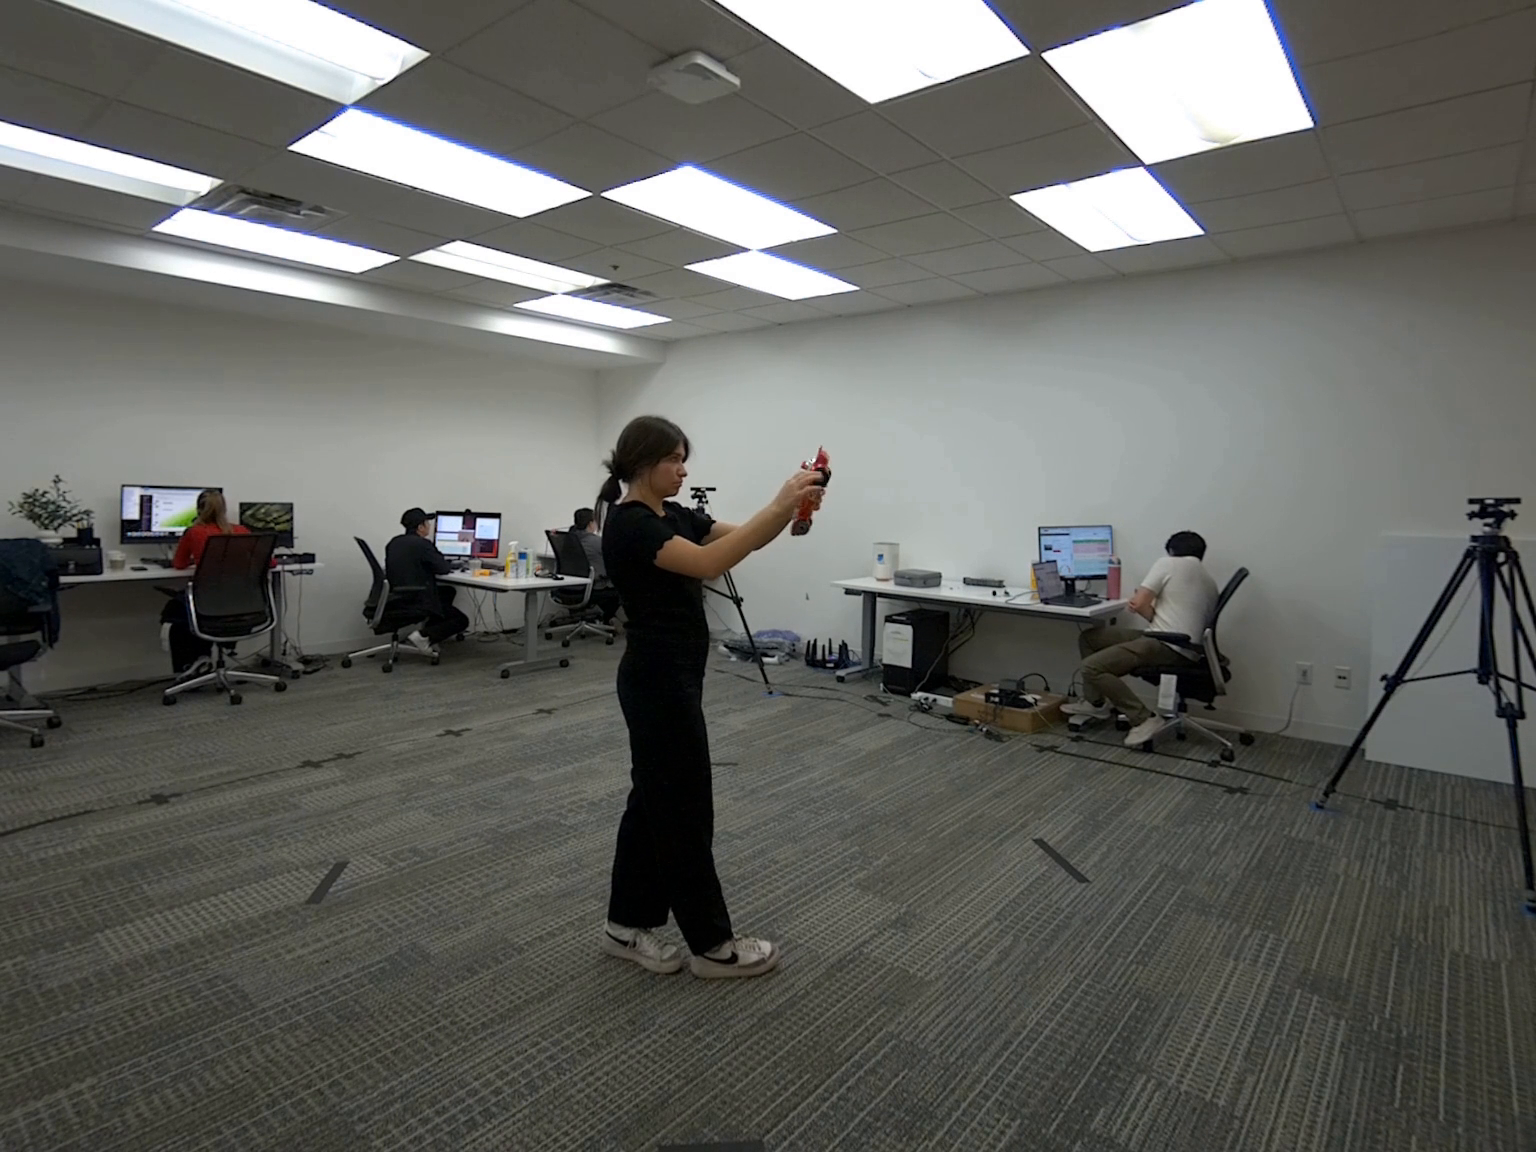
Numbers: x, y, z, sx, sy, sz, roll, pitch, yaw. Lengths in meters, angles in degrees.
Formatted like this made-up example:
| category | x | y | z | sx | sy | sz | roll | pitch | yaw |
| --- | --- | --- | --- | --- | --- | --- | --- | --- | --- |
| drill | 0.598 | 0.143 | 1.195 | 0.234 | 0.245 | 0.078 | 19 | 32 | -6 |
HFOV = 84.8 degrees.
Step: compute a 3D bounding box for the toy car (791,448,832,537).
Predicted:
| category | x | y | z | sx | sy | sz | roll | pitch | yaw |
| --- | --- | --- | --- | --- | --- | --- | --- | --- | --- |
| toy car | 0.113 | -0.235 | 2.337 | 0.084 | 0.252 | 0.130 | 11 | 13 | 6 |
